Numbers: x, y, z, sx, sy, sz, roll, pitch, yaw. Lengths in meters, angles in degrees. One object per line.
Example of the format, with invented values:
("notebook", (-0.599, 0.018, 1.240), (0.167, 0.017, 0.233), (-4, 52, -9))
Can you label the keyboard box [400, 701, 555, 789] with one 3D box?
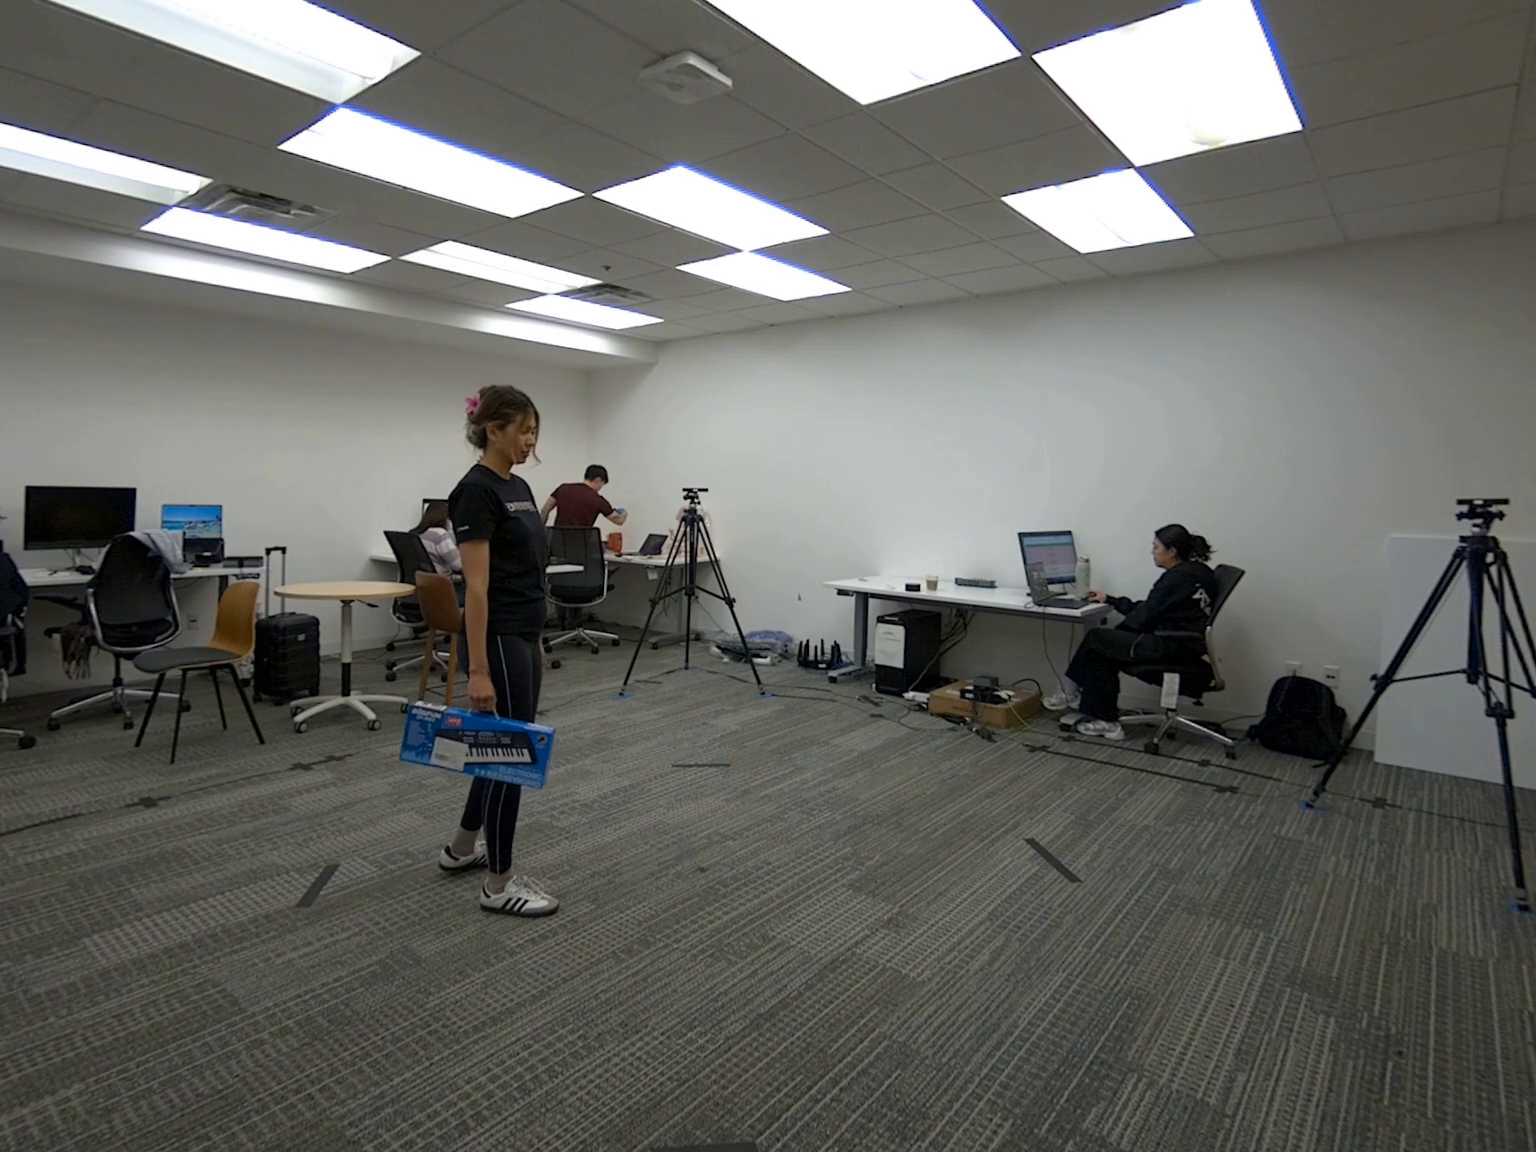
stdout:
("keyboard box", (-0.886, 0.498, 2.556), (0.437, 0.176, 0.059), (11, 2, 1))
